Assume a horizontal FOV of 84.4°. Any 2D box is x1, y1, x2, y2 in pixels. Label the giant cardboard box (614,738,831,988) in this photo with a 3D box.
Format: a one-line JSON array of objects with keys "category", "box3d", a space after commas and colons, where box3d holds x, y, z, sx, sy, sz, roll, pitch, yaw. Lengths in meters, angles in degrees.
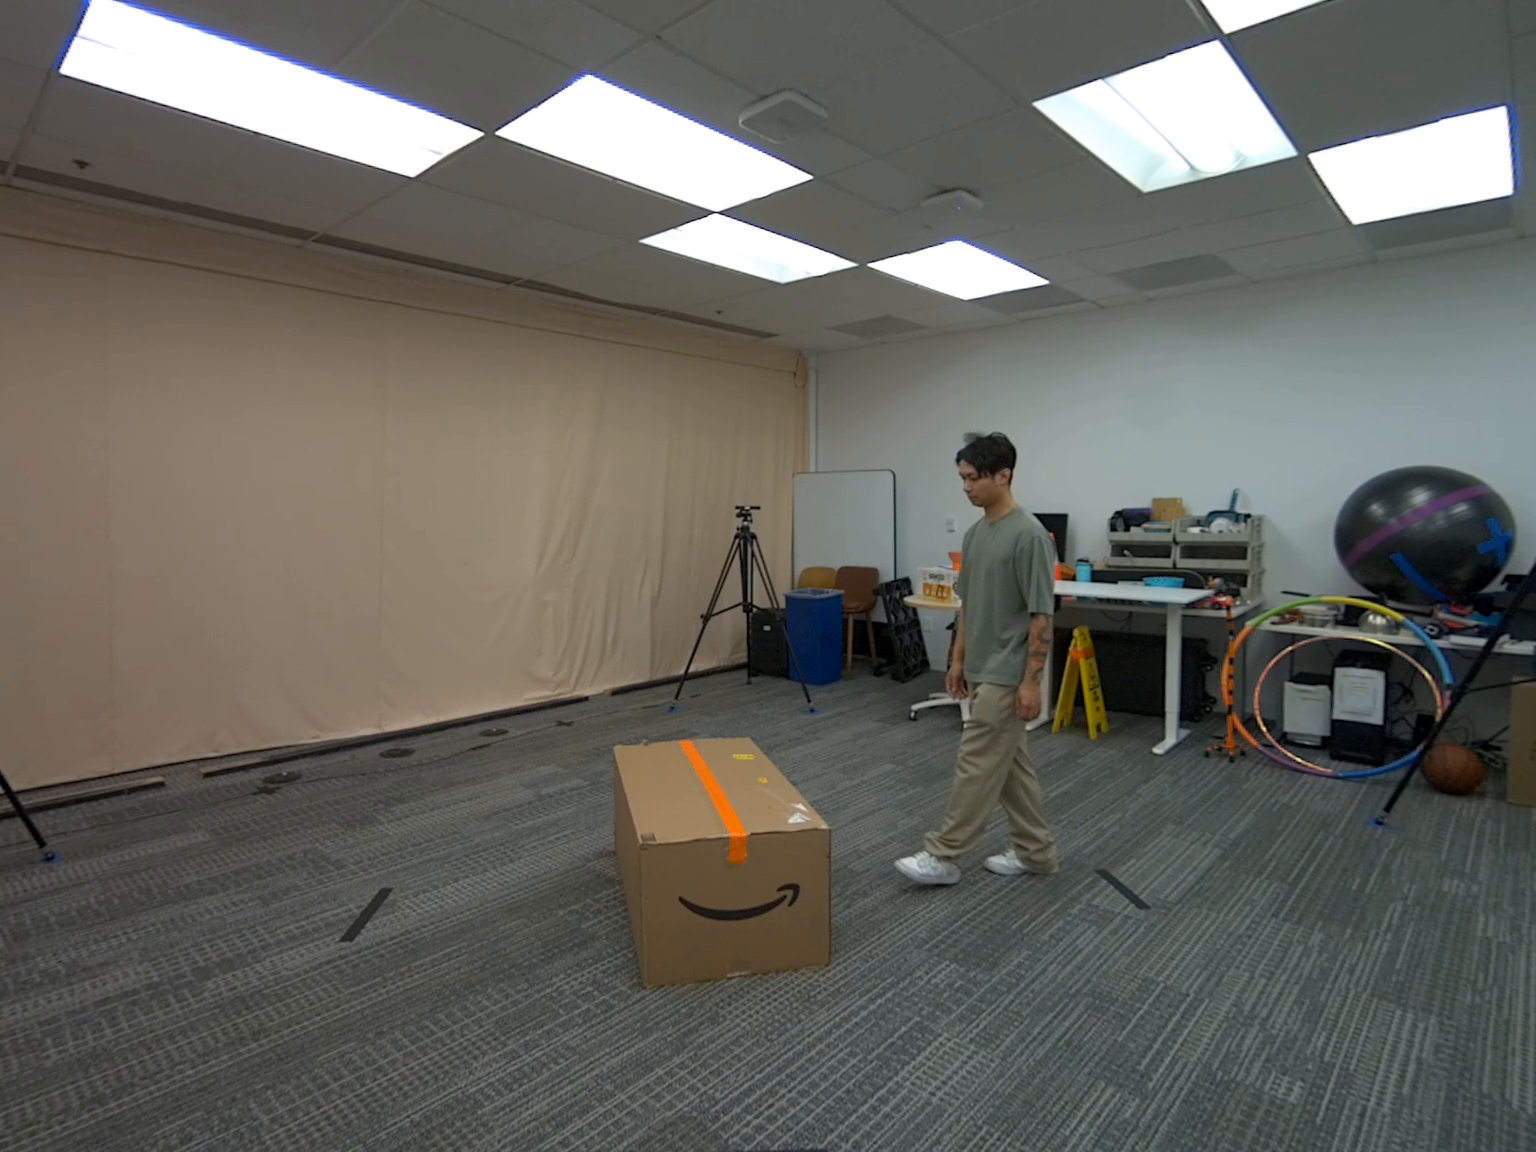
[{"category": "giant cardboard box", "box3d": [-0.217, 0.928, 2.973, 0.569, 0.425, 1.043, -1, 4, -14]}]
